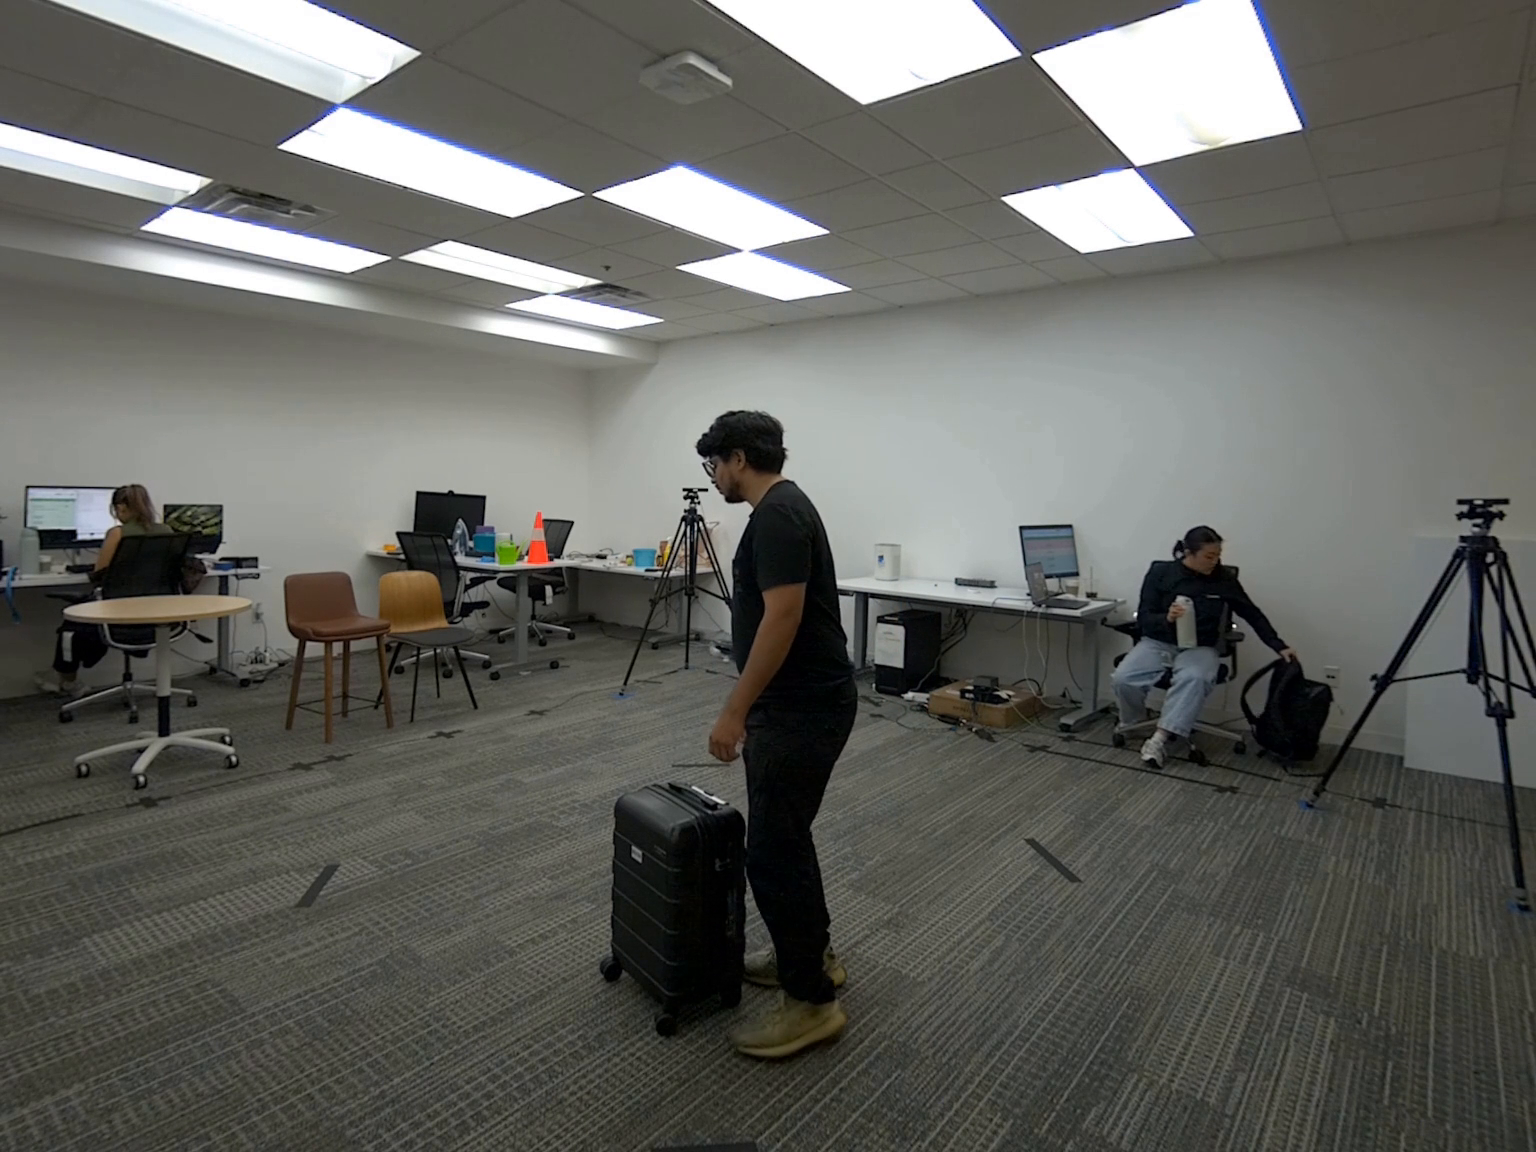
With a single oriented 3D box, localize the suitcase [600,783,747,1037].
[{"bbox_3d":[-0.258,0.870,2.337,0.241,0.548,0.388,-1,5,-40],"label":"suitcase"}]
